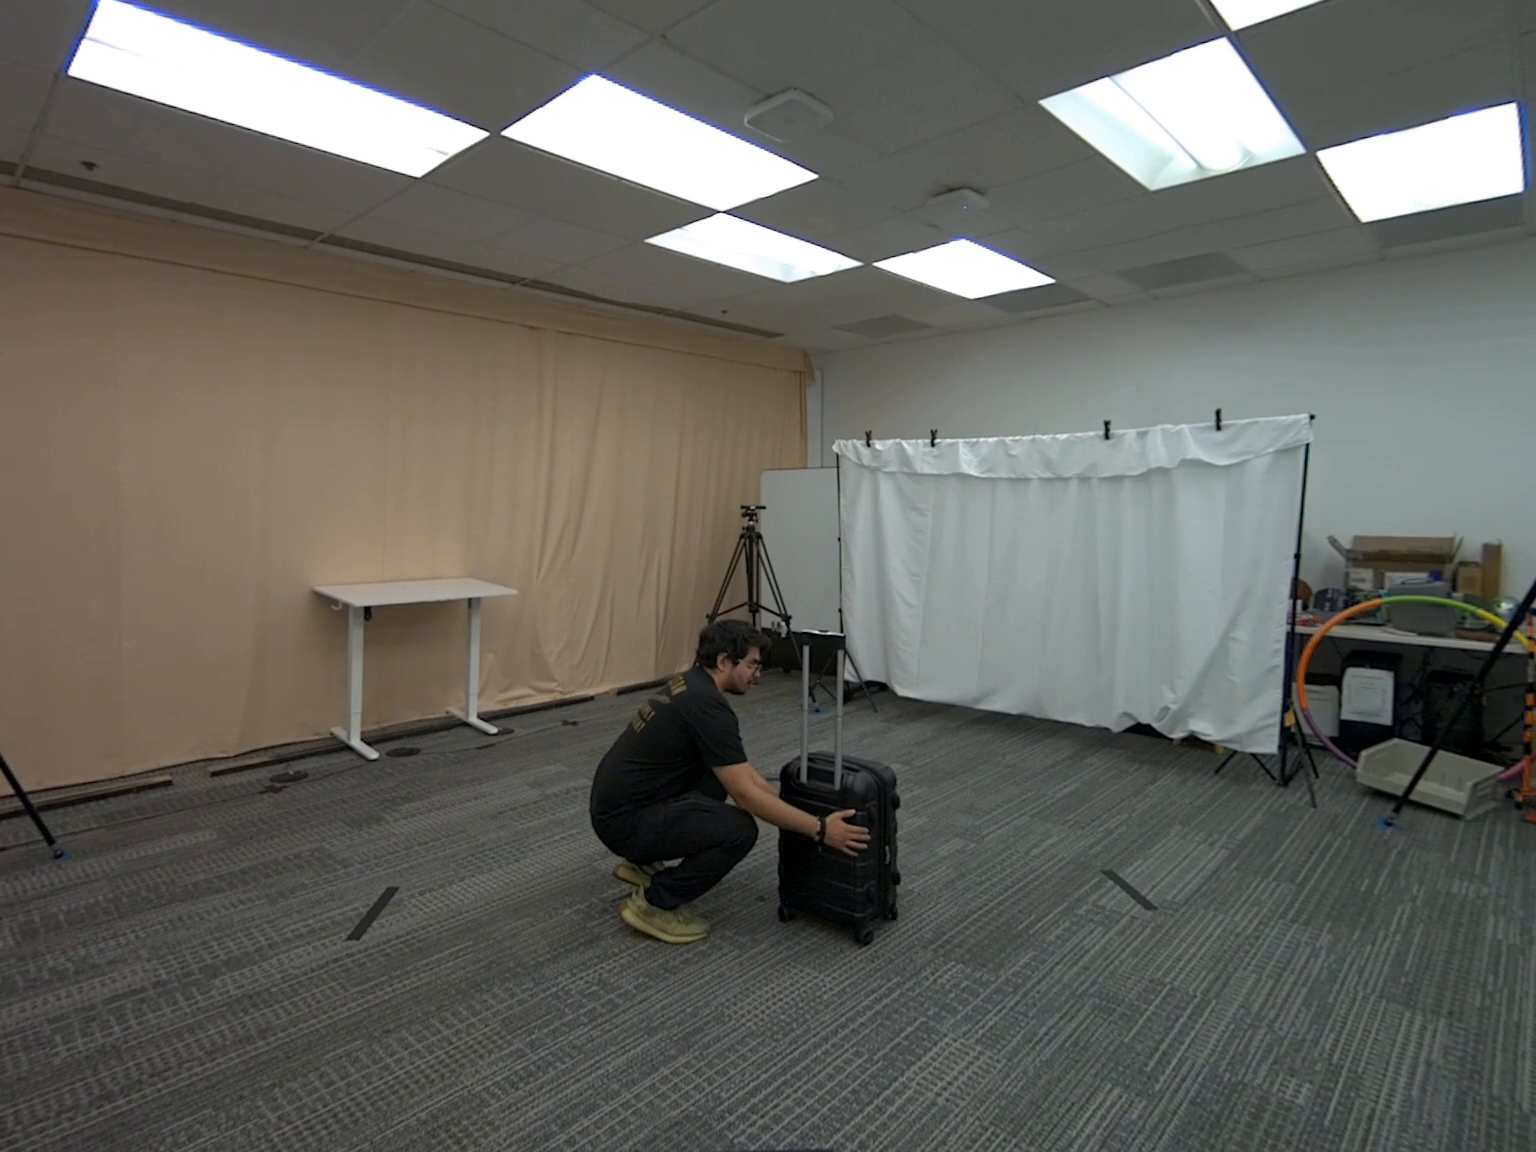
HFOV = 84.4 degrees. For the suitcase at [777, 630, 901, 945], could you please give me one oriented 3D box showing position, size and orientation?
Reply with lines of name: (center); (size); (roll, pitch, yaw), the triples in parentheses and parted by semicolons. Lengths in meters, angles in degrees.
suitcase: (0.241, 0.681, 2.815); (0.396, 0.978, 0.249); (2, 1, 38)
